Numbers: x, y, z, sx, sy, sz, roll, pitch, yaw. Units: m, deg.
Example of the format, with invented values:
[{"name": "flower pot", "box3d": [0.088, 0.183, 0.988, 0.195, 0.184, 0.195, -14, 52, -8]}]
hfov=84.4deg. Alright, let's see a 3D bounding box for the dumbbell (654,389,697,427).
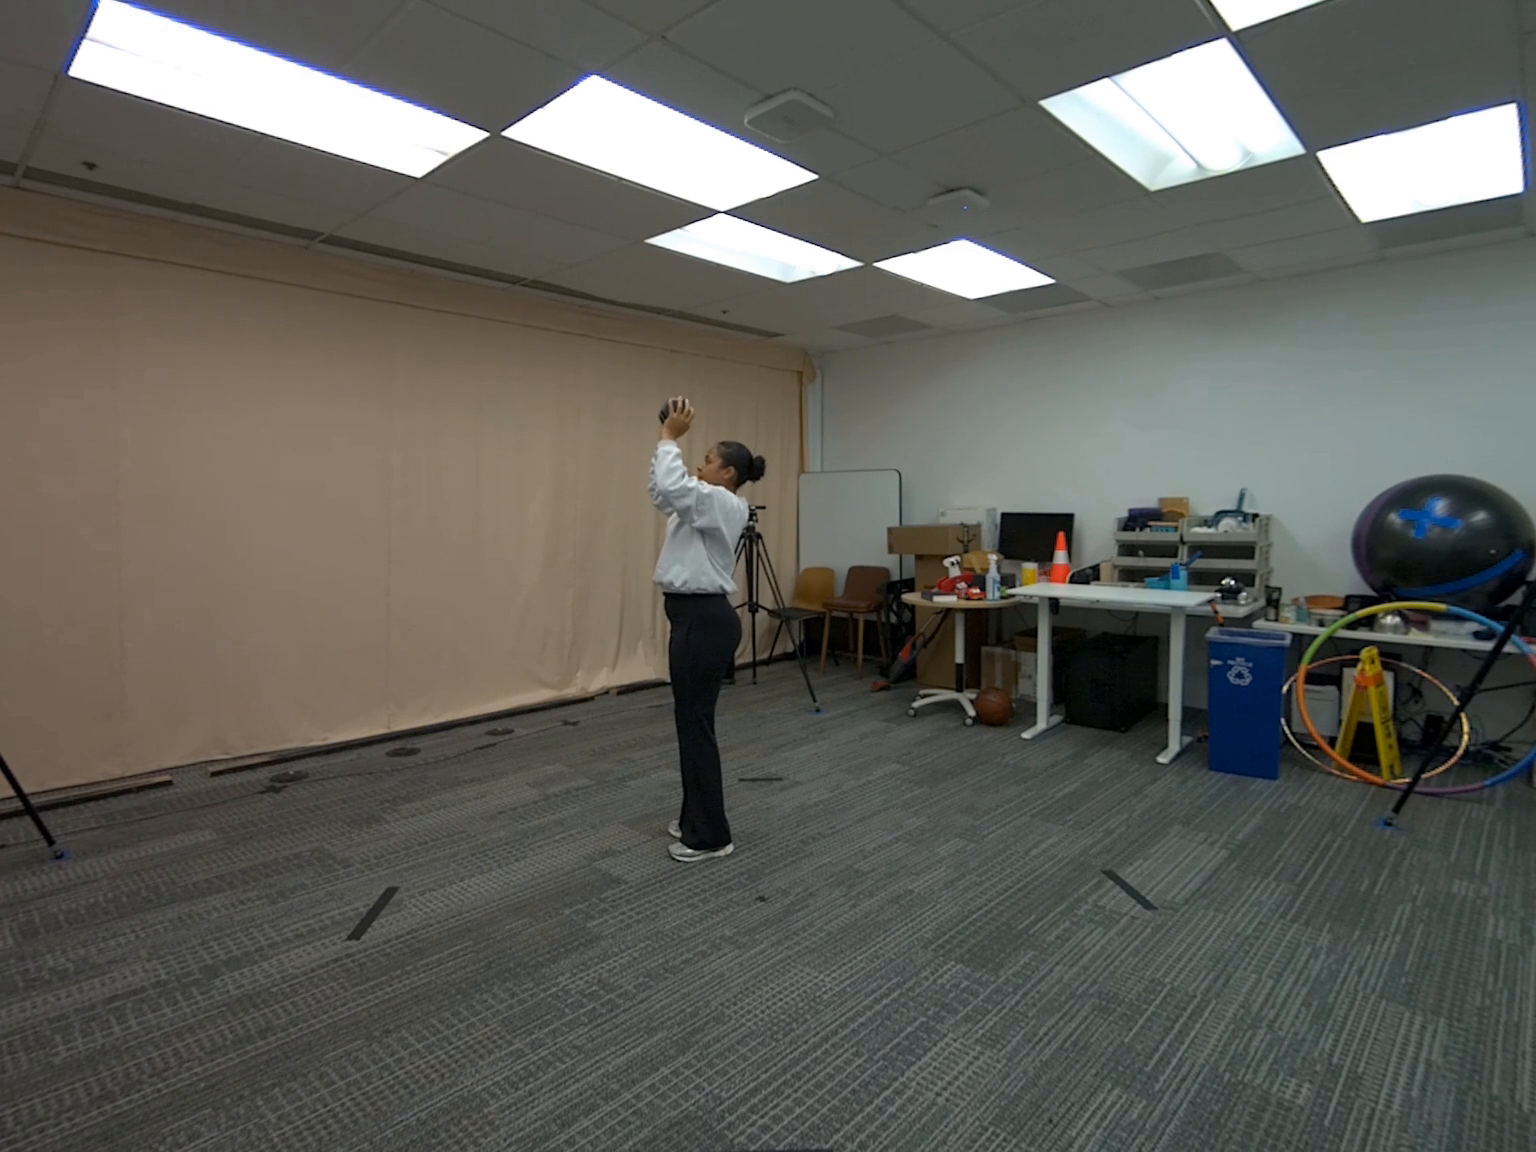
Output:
[{"name": "dumbbell", "box3d": [-0.378, -0.648, 3.411, 0.108, 0.122, 0.296, -33, 7, -5]}]
